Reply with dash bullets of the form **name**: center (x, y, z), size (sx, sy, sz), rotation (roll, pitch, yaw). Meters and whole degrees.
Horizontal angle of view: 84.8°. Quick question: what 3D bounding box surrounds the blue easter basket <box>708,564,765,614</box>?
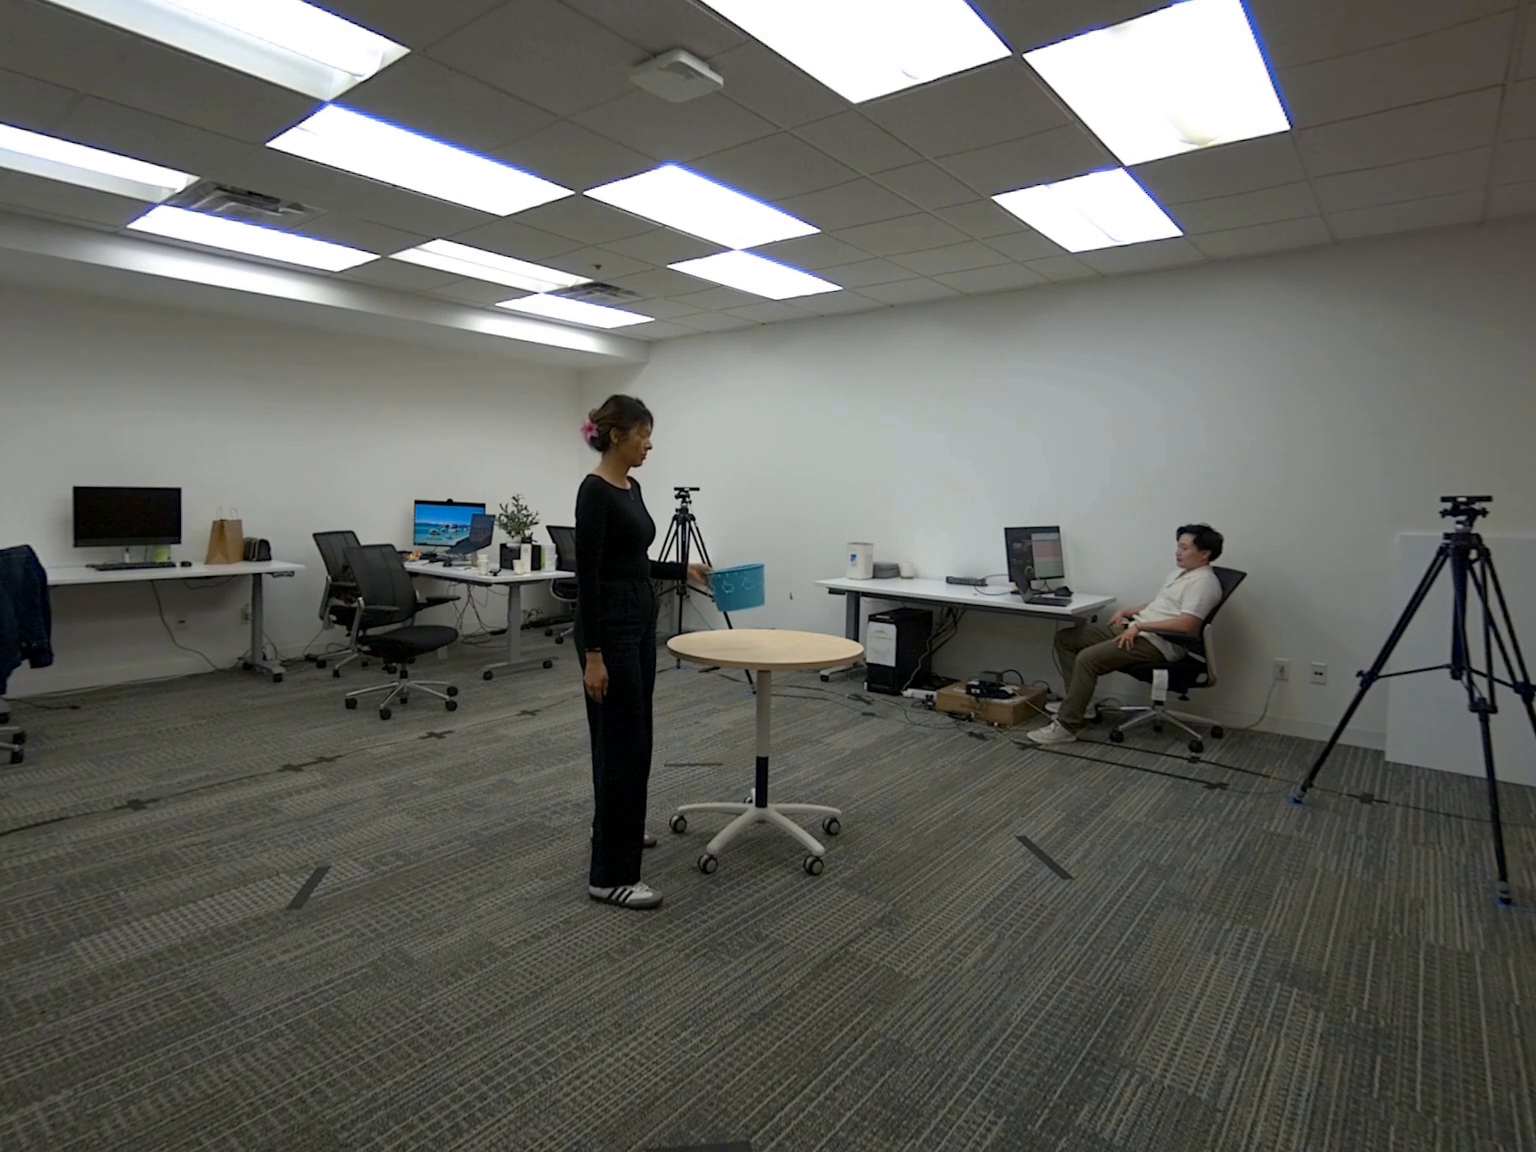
- **blue easter basket**: center (-0.135, 0.043, 3.230), size (0.243, 0.156, 0.244), rotation (-7, 2, -2)
